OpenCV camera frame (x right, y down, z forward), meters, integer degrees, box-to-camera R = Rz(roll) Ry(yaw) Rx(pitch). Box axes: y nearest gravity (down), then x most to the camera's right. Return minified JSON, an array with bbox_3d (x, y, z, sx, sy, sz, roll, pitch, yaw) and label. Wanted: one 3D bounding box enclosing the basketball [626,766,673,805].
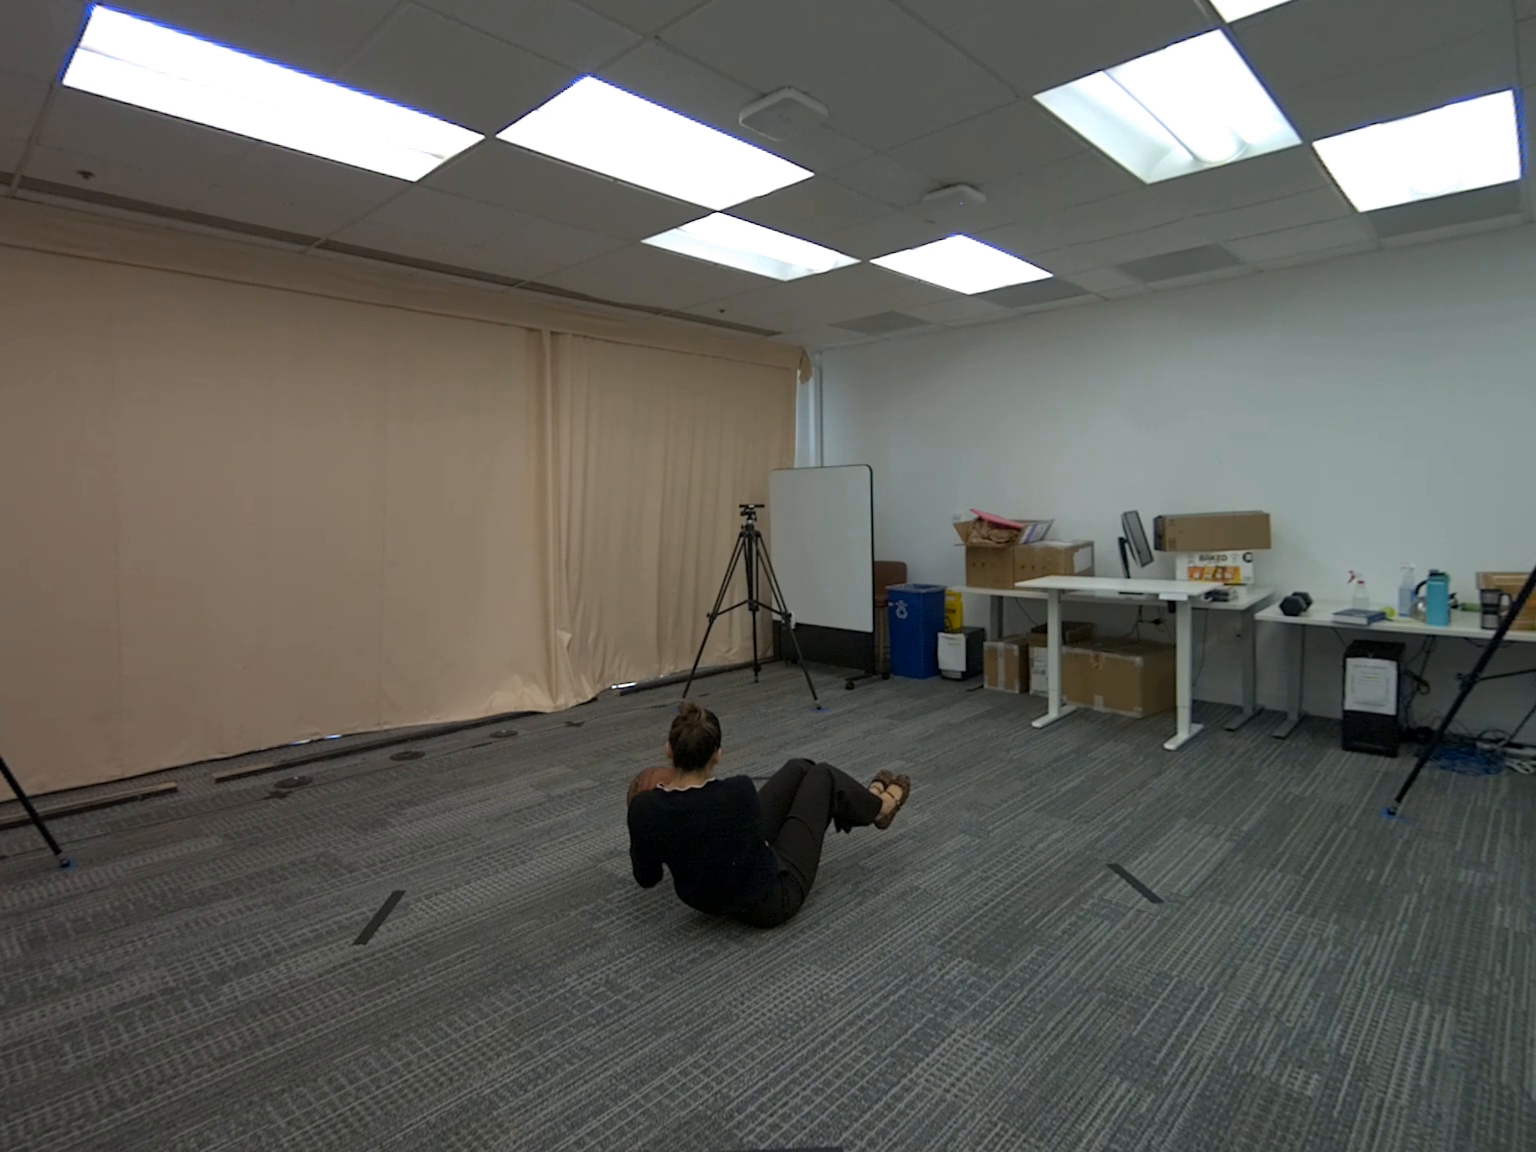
[{"bbox_3d":[-0.404,0.828,3.170,0.236,0.235,0.237,-1,4,-2],"label":"basketball"}]
